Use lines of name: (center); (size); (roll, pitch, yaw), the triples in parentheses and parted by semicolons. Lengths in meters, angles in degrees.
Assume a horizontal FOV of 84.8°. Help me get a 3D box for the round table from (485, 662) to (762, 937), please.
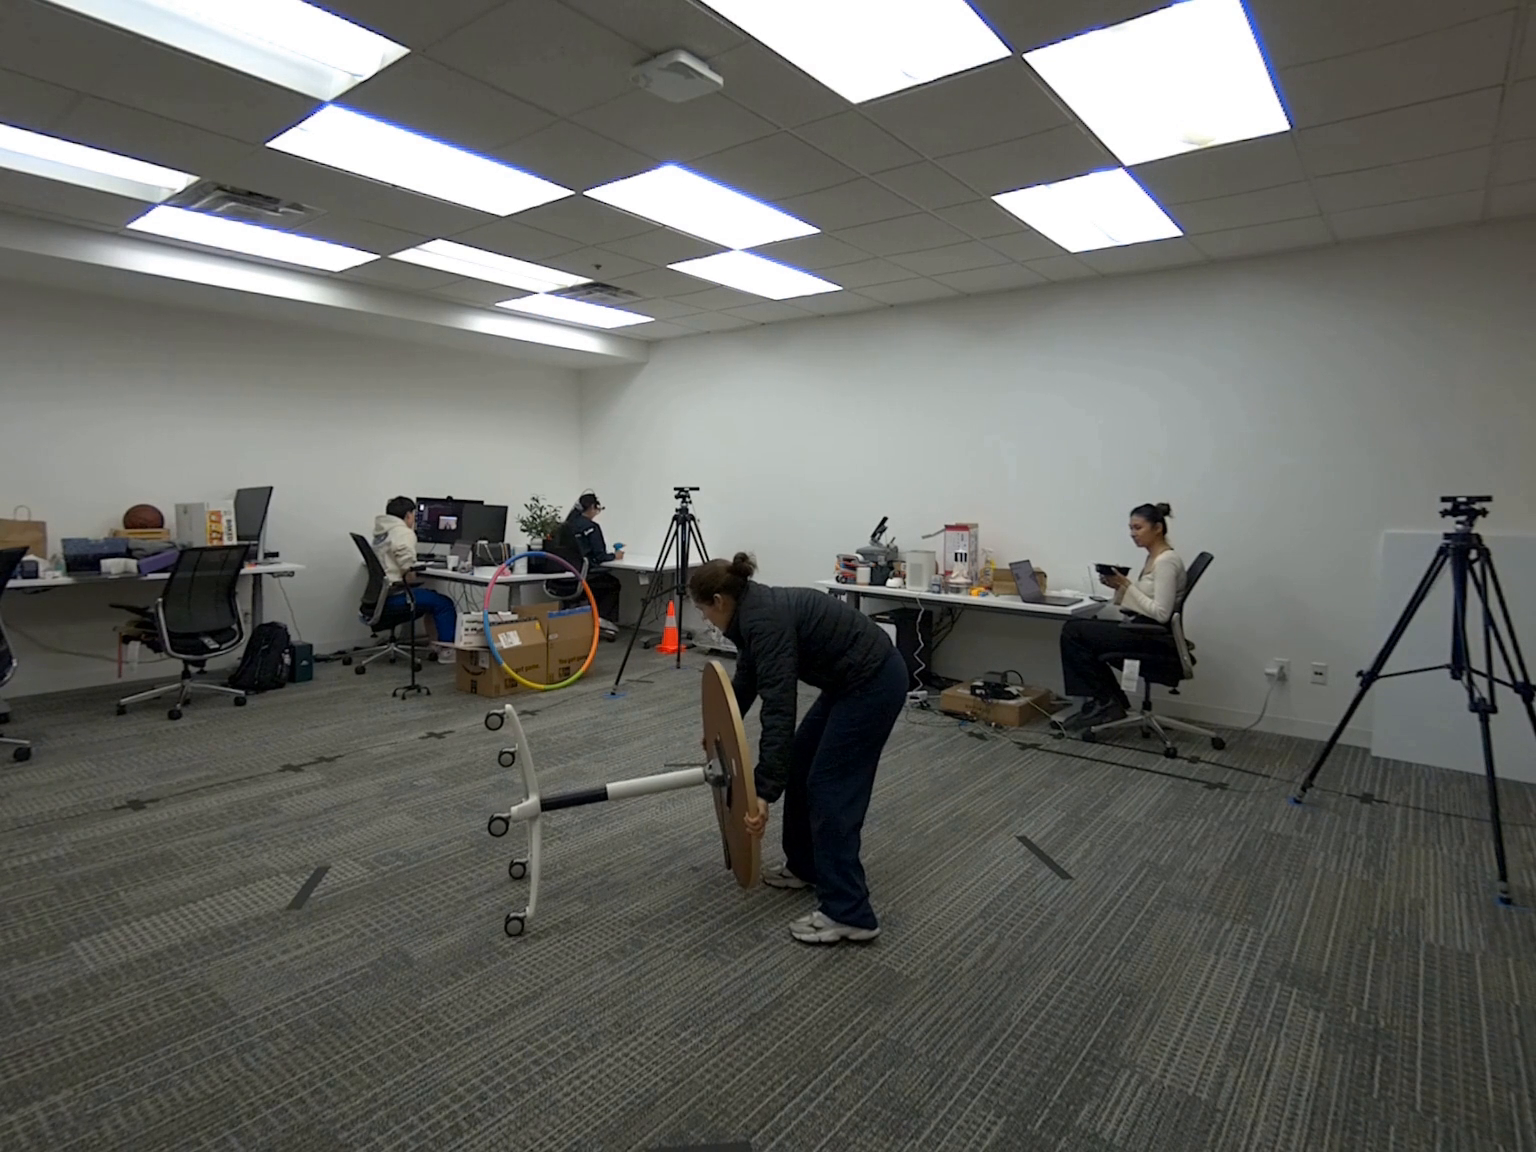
round table: (-0.502, 0.731, 2.896); (0.779, 0.781, 0.797); (-8, 6, -11)
